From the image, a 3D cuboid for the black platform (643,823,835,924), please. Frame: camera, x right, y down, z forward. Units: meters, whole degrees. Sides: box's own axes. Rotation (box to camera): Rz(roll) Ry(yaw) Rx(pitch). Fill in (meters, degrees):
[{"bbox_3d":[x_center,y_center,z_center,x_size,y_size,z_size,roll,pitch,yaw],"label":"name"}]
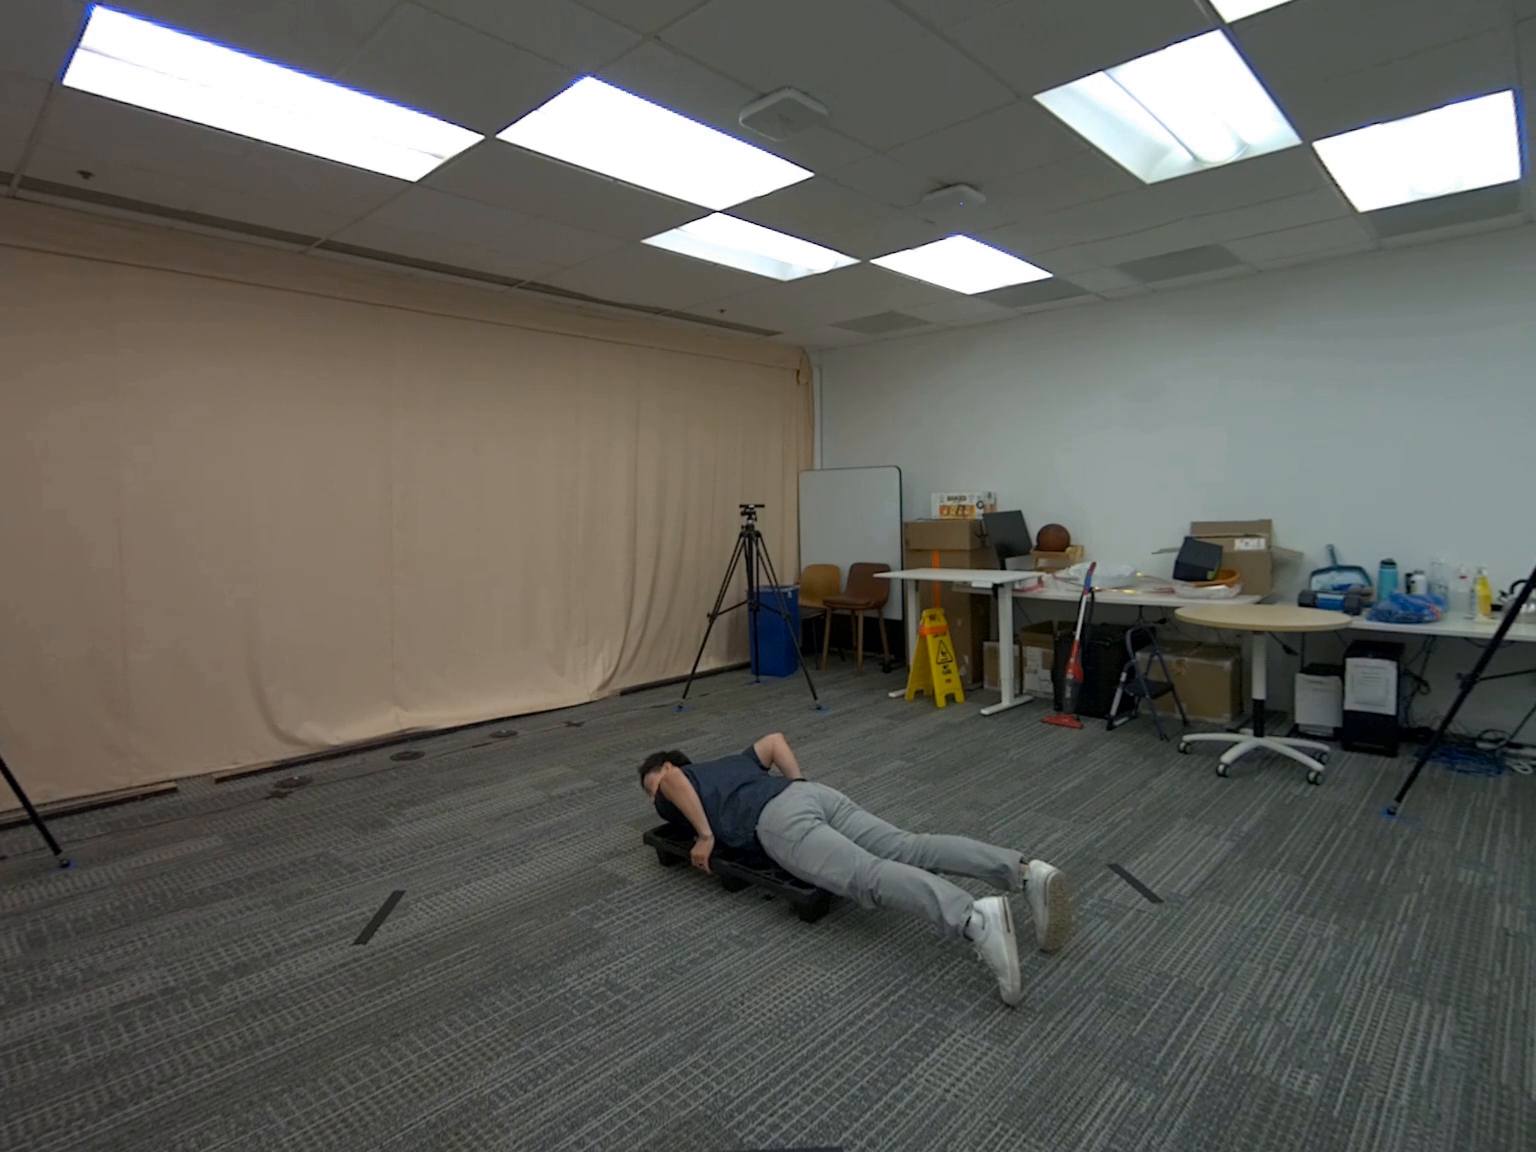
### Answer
[{"bbox_3d":[0.017,1.062,3.209,0.832,0.143,0.588,3,8,40],"label":"black platform"}]
